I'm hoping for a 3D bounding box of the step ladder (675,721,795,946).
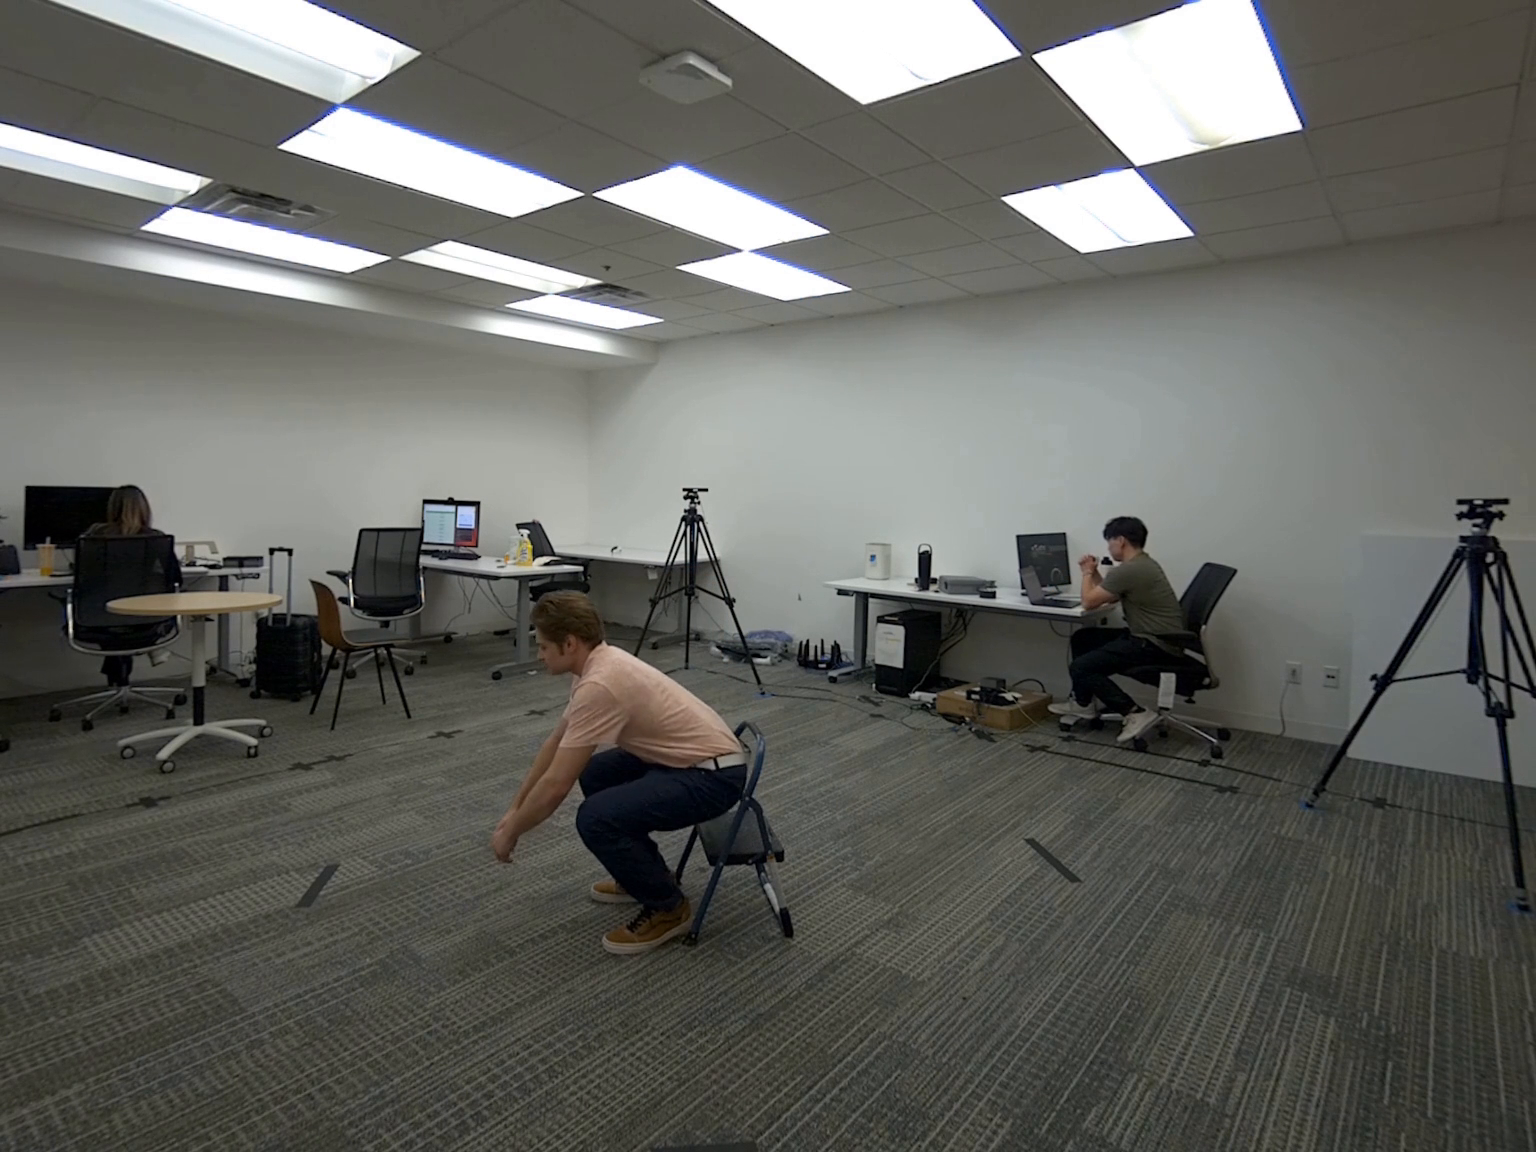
[{"bbox_3d":[-0.124,0.804,2.800,0.345,0.604,0.437,1,4,-12],"label":"step ladder"}]
